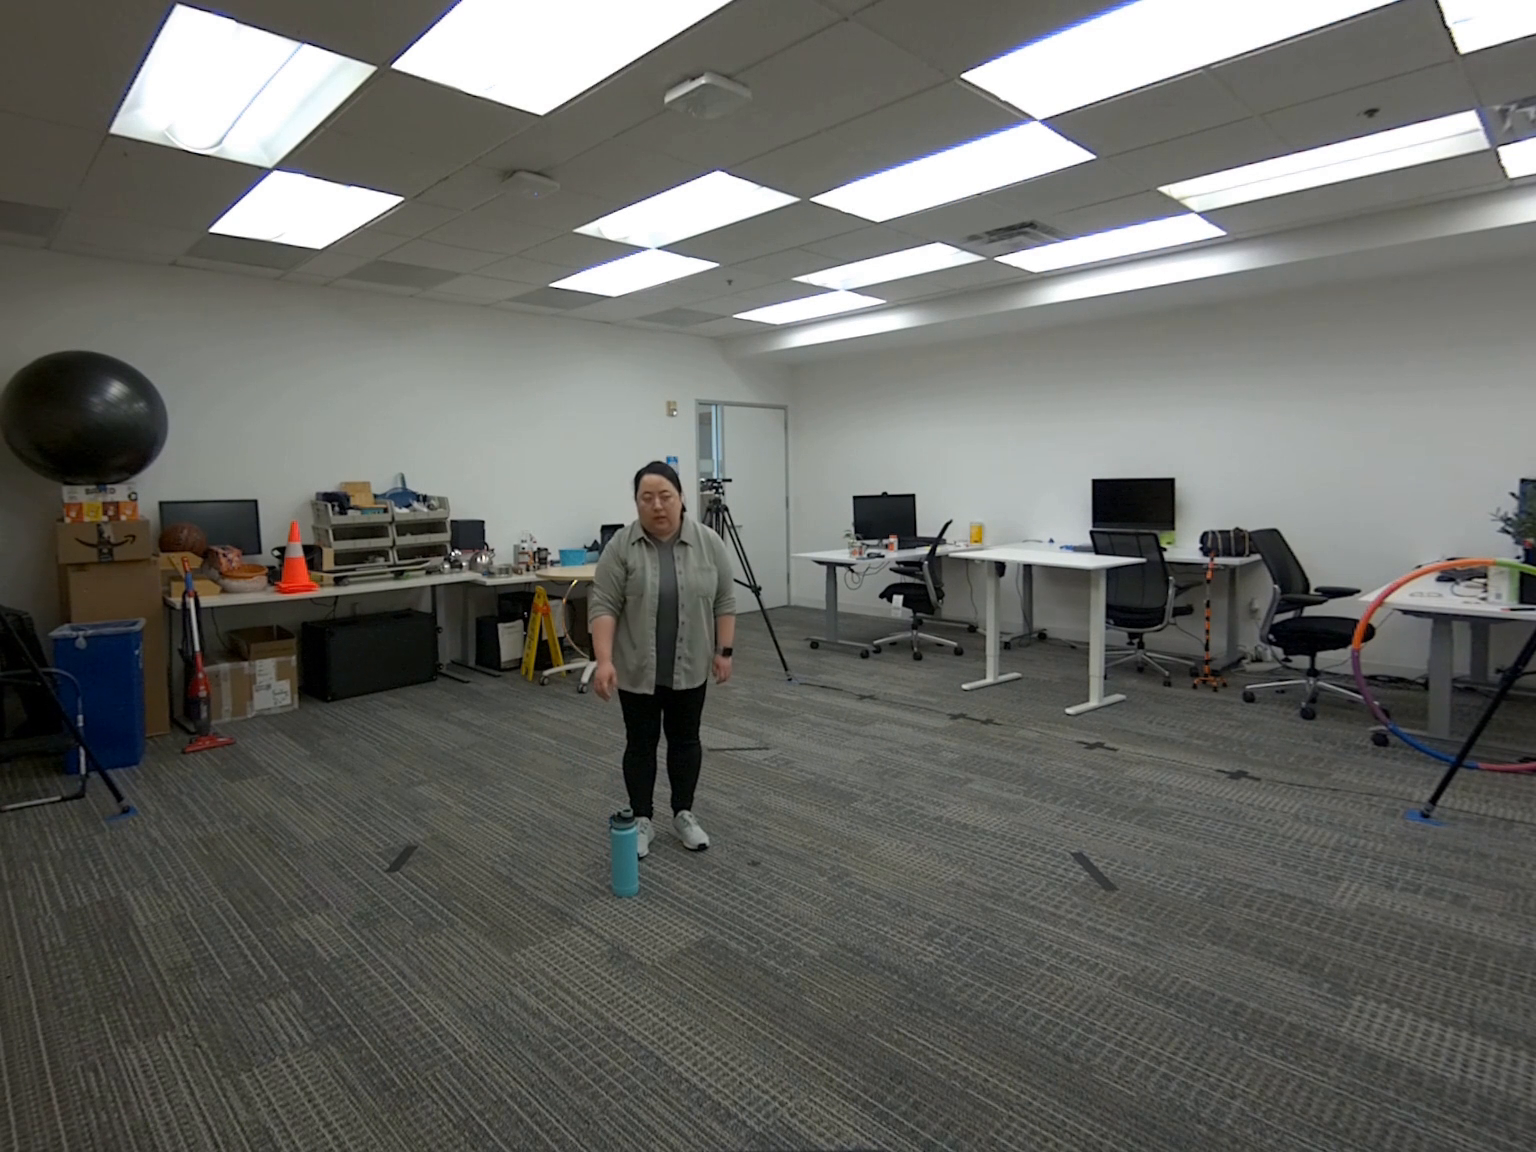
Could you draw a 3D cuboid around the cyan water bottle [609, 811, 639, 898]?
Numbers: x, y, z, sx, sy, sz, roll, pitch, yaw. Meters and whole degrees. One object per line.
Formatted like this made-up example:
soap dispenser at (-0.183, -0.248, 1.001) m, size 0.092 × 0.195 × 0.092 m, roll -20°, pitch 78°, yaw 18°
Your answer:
cyan water bottle at (-0.492, 0.939, 2.901) m, size 0.092 × 0.282 × 0.093 m, roll -2°, pitch 5°, yaw -1°
